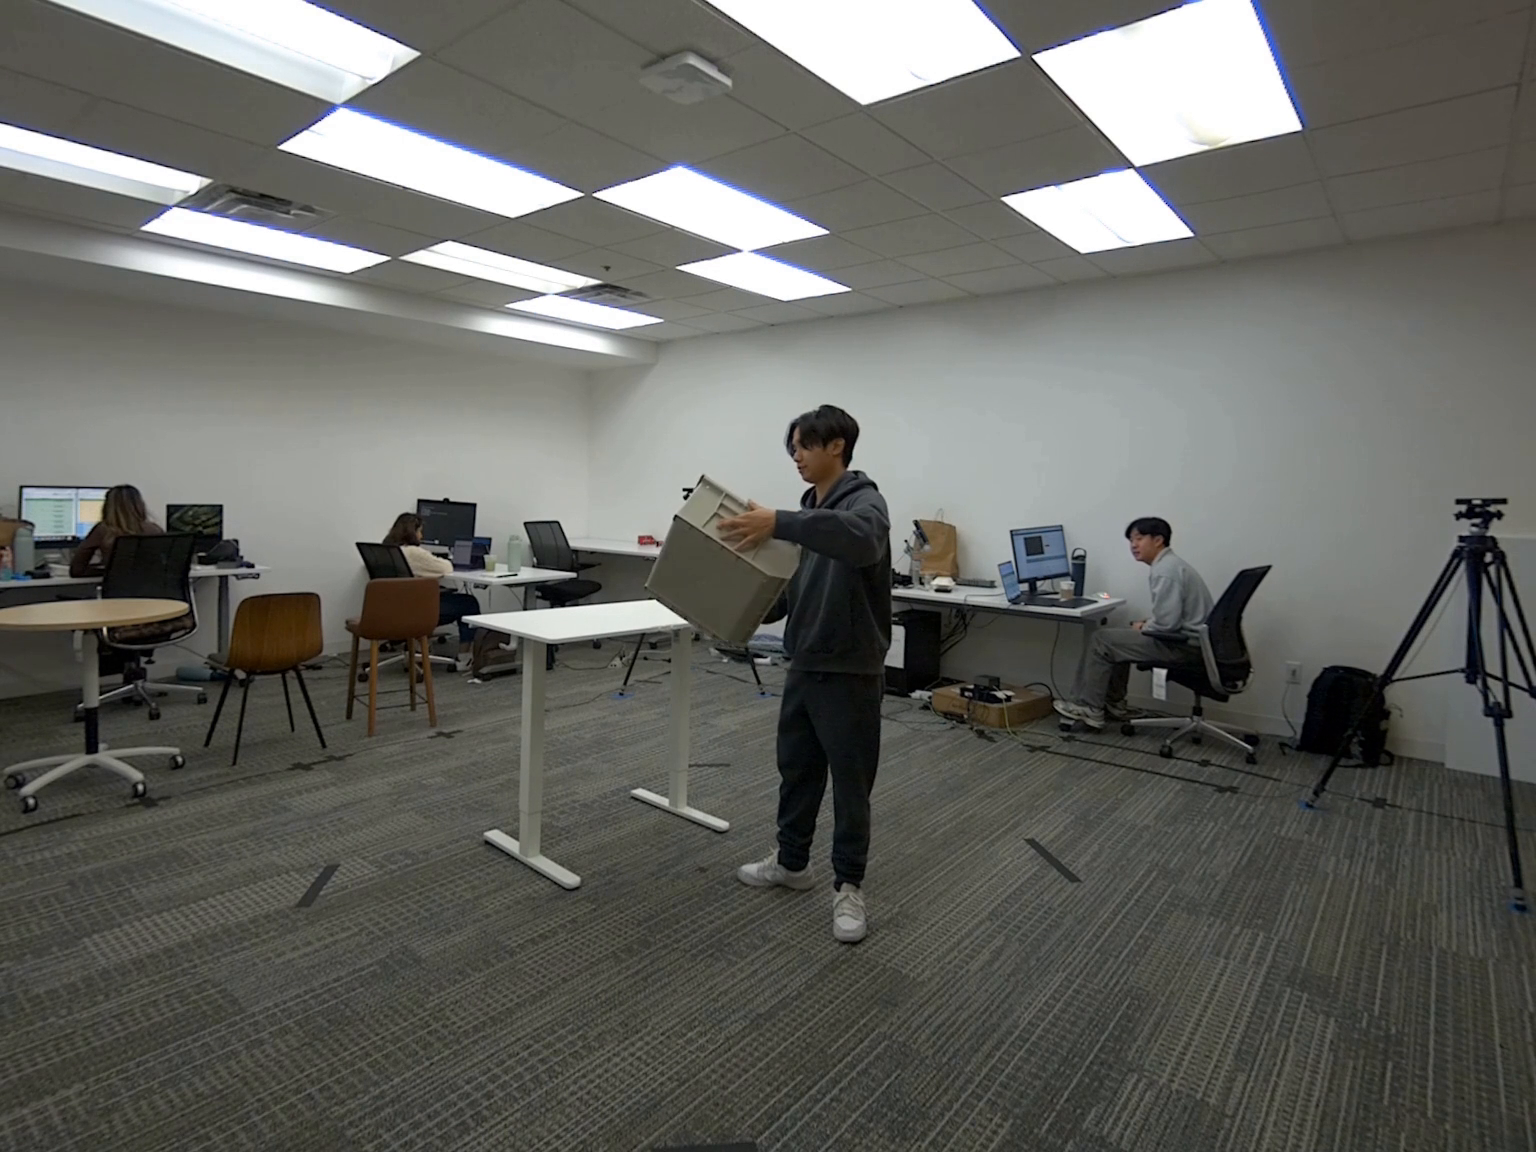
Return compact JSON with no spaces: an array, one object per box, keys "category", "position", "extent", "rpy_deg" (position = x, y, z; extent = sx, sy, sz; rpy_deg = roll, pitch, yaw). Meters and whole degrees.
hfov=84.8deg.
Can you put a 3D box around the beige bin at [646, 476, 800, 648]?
[{"category":"beige bin","position":[-0.152,-0.025,2.551],"extent":[0.380,0.190,0.418],"rpy_deg":[34,-39,4]}]
